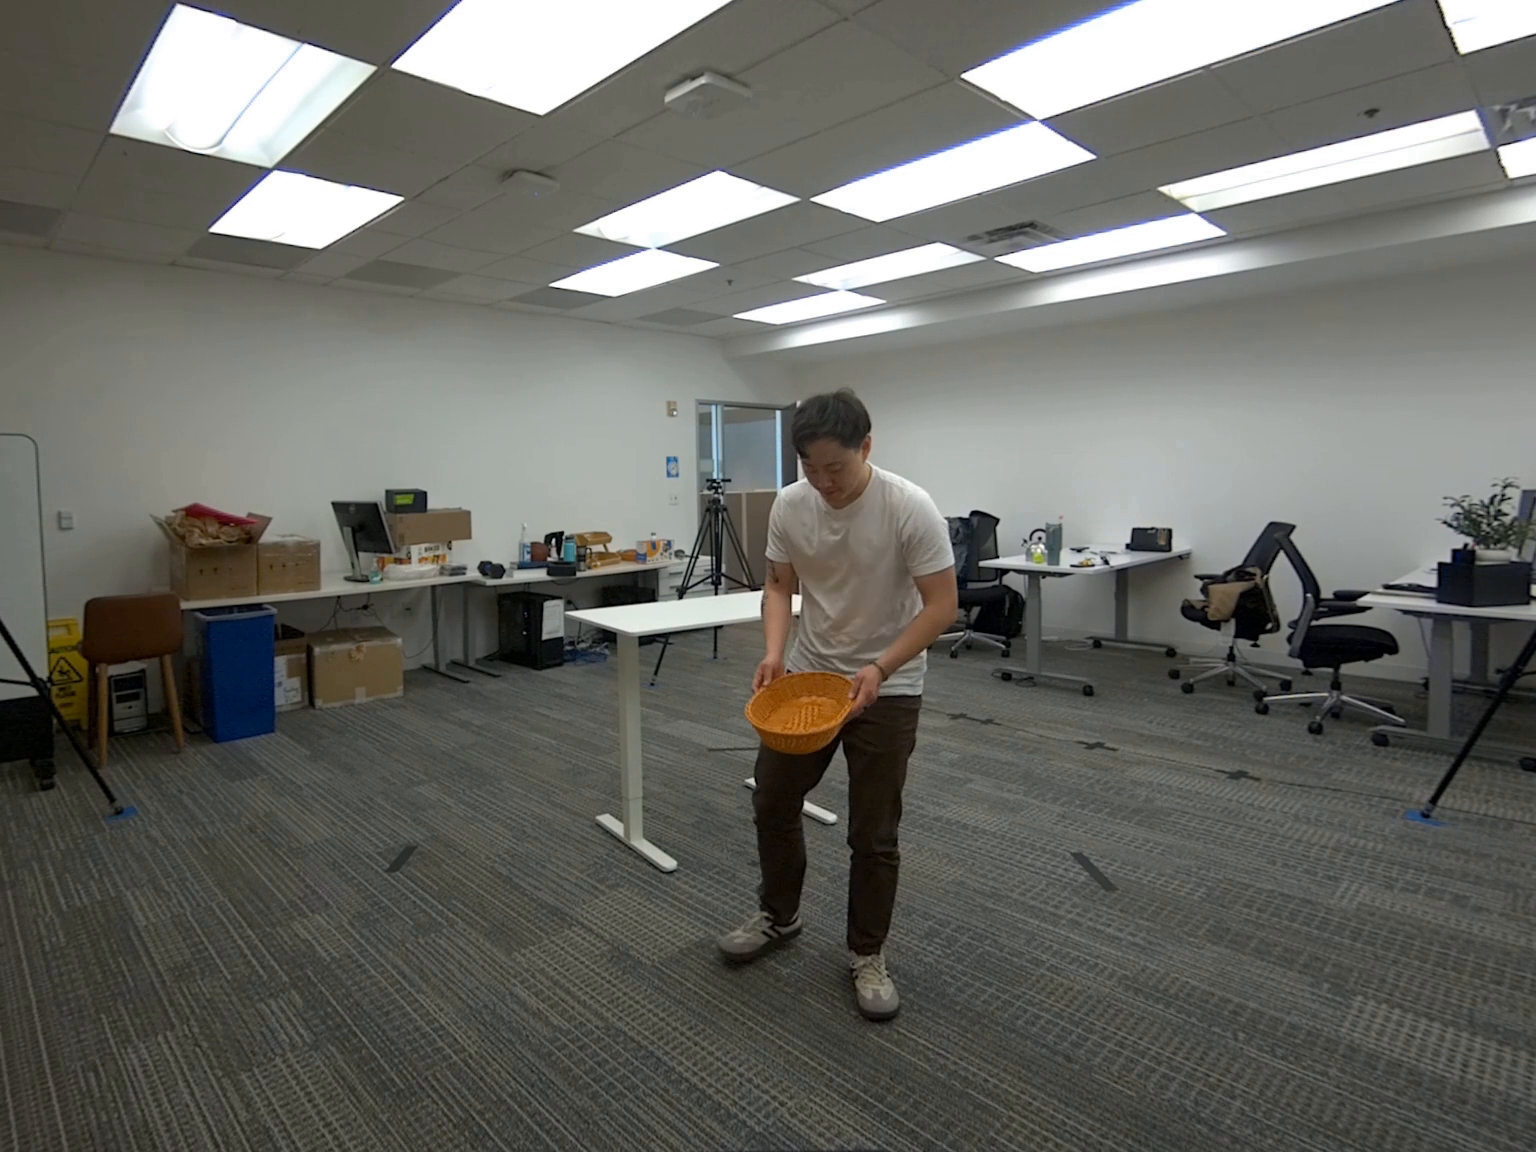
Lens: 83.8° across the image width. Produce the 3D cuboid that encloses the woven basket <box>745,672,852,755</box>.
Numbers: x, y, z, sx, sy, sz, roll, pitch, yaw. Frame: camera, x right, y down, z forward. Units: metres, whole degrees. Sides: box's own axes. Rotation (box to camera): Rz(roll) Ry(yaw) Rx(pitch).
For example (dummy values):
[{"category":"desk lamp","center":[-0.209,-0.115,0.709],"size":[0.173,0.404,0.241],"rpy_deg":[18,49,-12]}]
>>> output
[{"category":"woven basket","center":[0.085,0.345,2.093],"size":[0.259,0.072,0.347],"rpy_deg":[4,19,26]}]
